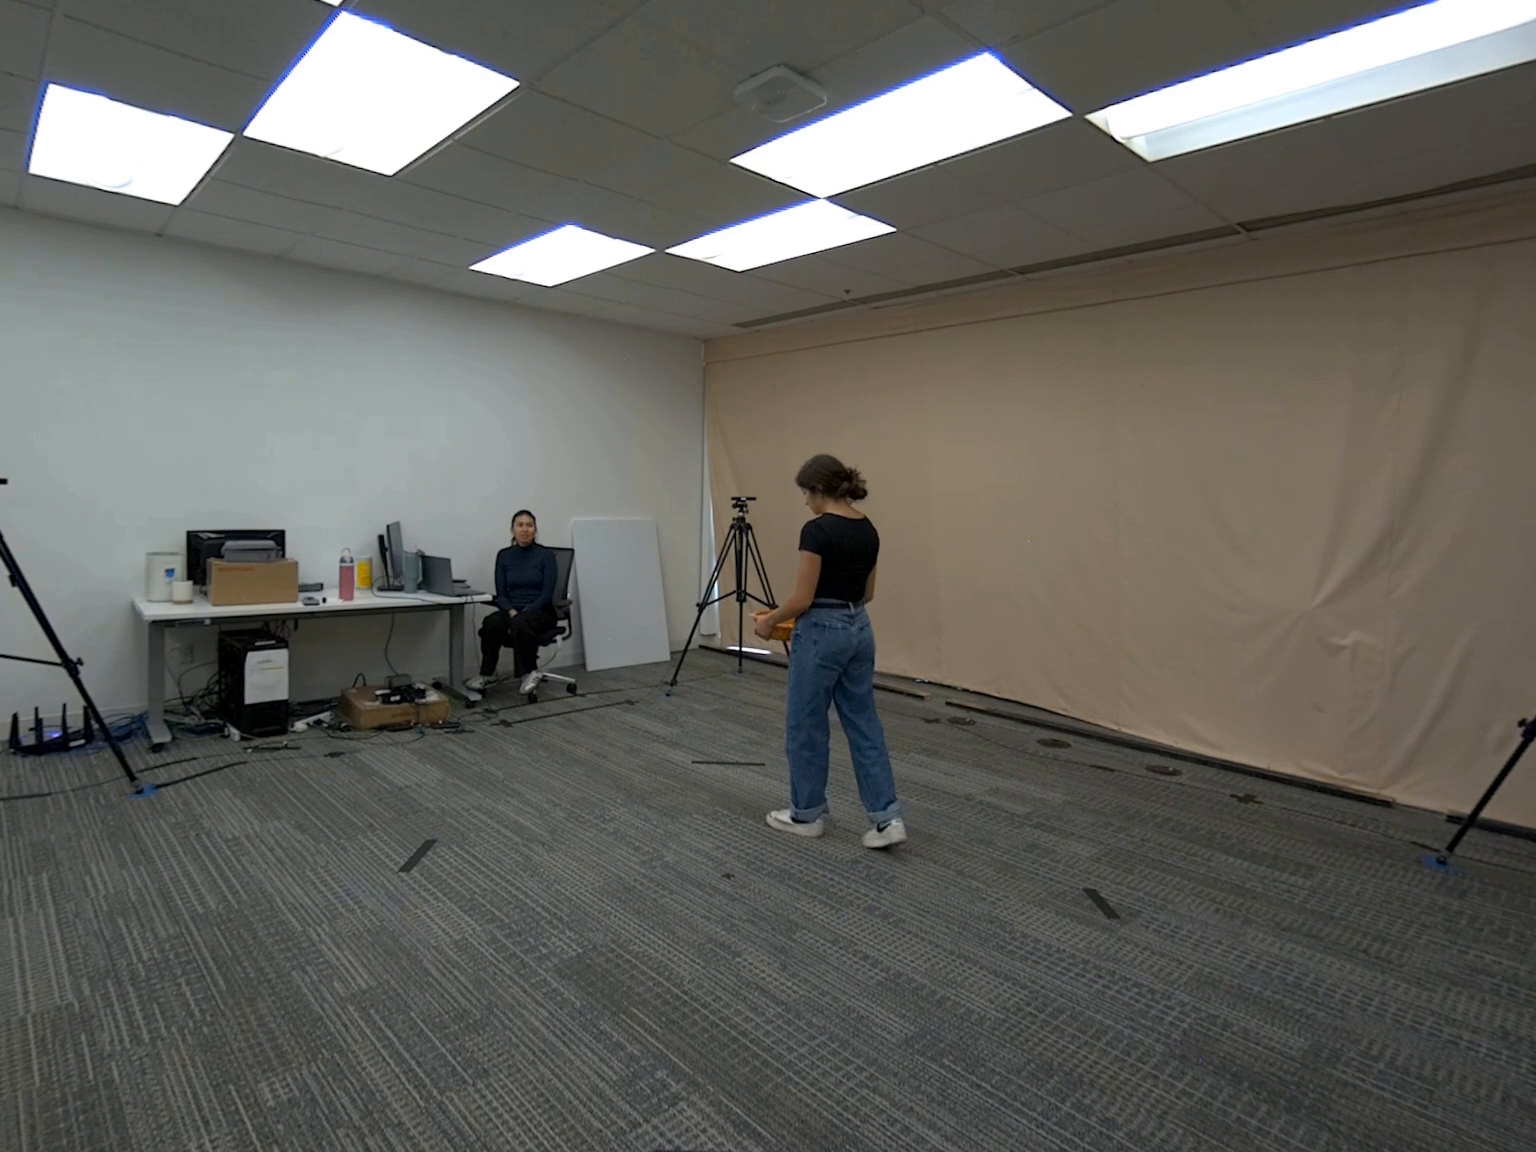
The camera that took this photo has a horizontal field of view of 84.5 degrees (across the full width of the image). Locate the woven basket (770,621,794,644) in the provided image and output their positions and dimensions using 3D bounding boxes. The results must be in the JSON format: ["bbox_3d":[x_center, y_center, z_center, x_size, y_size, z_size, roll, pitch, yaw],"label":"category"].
[{"bbox_3d":[0.114,0.223,3.644,0.342,0.073,0.260,-1,14,-42],"label":"woven basket"}]
